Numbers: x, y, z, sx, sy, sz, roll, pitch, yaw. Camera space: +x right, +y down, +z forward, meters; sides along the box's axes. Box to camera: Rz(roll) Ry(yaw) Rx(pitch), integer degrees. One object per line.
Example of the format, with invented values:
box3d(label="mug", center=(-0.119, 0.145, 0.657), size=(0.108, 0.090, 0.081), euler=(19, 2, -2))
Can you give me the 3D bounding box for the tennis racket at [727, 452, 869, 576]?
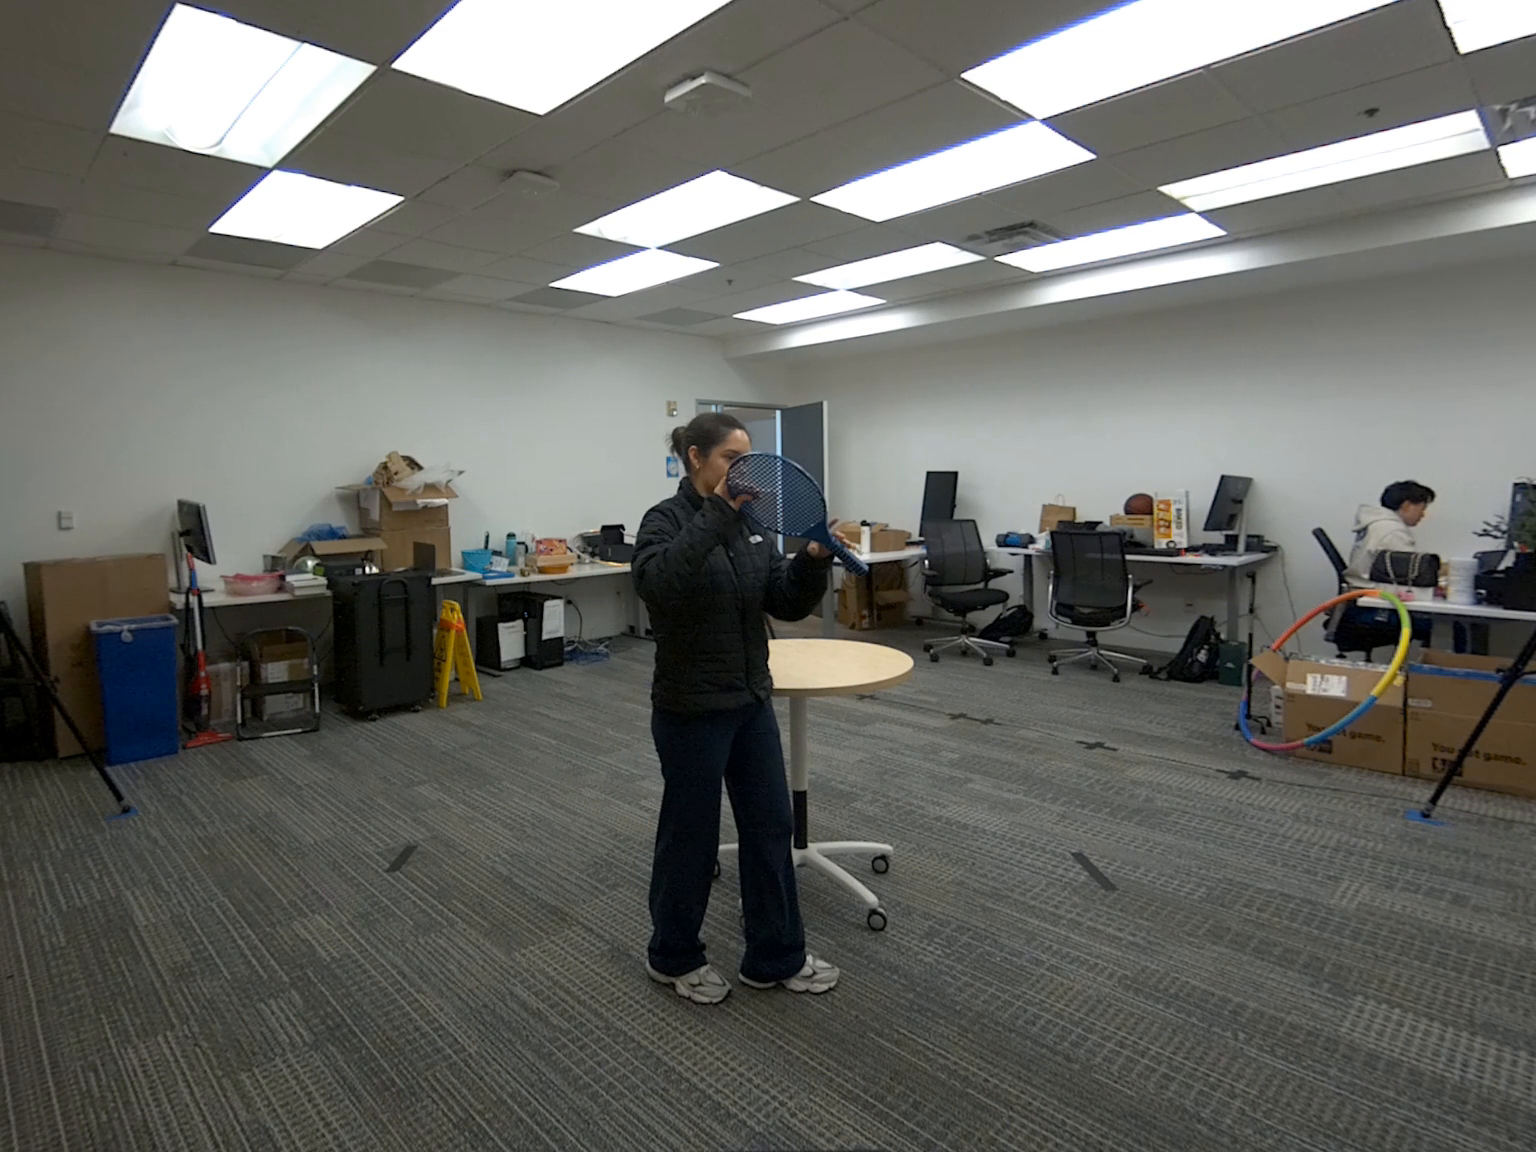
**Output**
box3d(label="tennis racket", center=(0.087, -0.143, 2.069), size=(0.215, 0.424, 0.032), euler=(-36, 21, 41))
